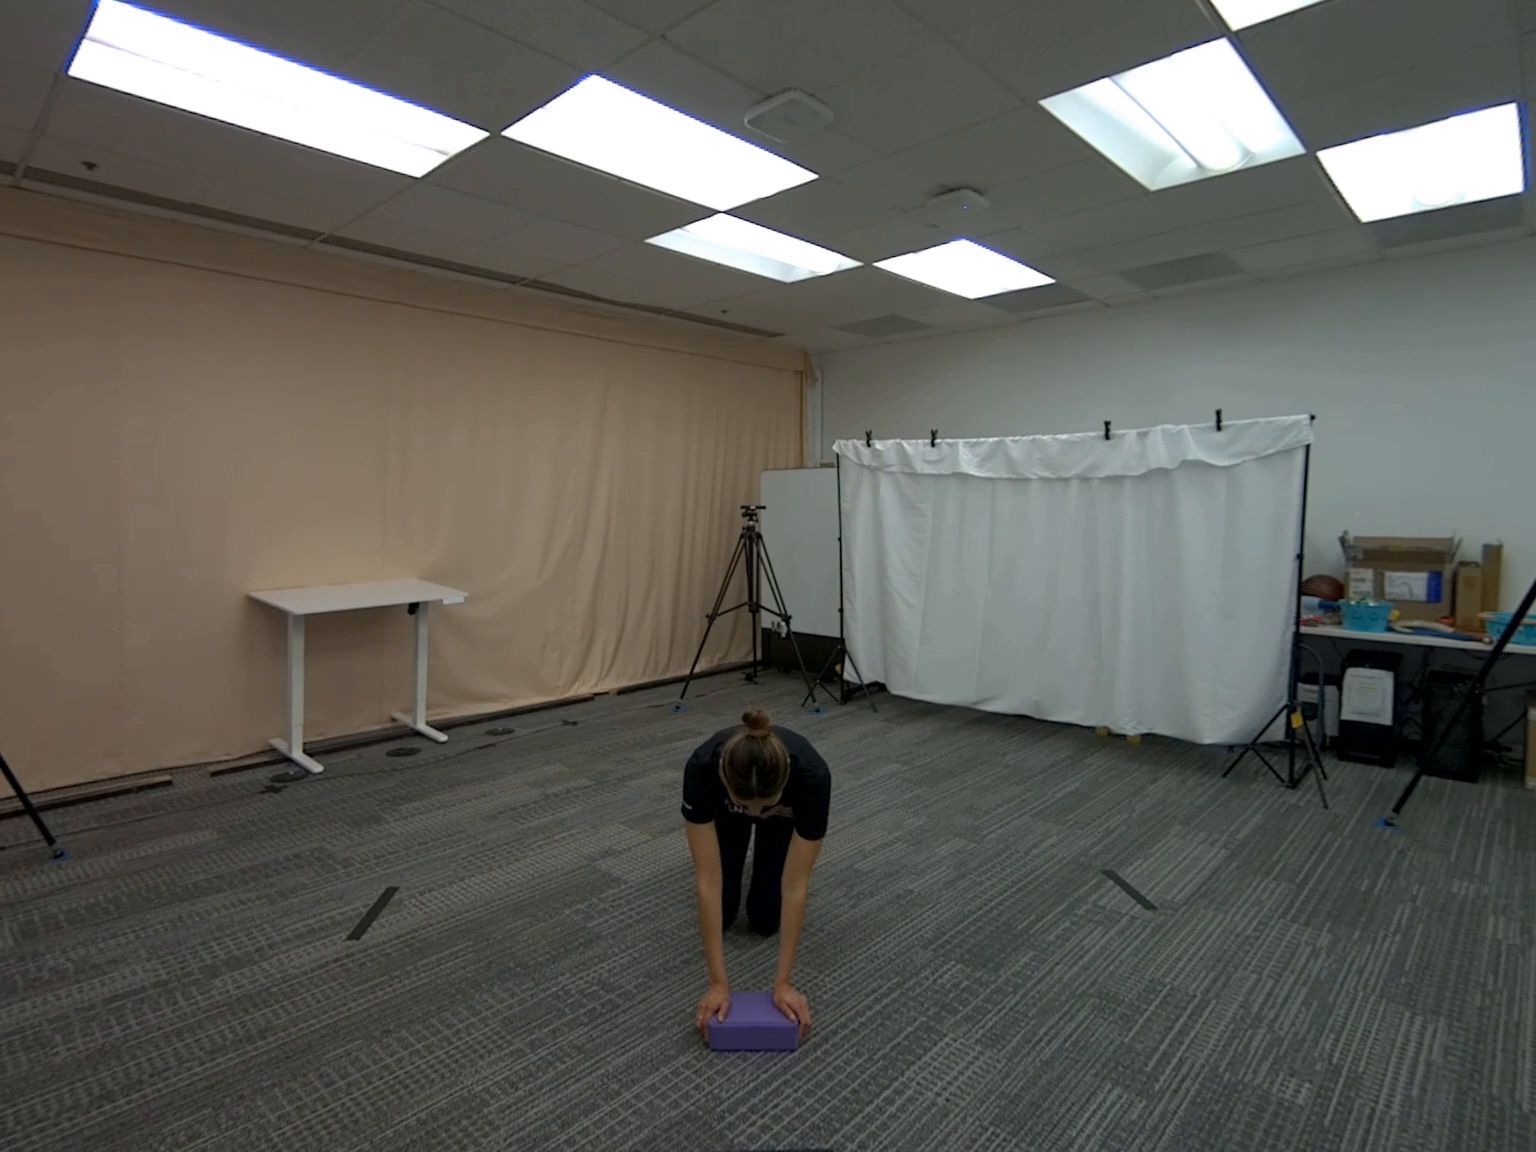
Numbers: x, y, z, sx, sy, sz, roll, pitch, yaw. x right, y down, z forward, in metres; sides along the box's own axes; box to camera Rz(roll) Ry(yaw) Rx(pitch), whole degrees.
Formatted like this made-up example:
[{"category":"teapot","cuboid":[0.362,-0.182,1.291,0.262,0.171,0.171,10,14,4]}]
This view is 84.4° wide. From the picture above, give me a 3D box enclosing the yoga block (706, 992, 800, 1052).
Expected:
[{"category":"yoga block","cuboid":[-0.044,1.165,2.219,0.229,0.076,0.149,-1,5,-1]}]
